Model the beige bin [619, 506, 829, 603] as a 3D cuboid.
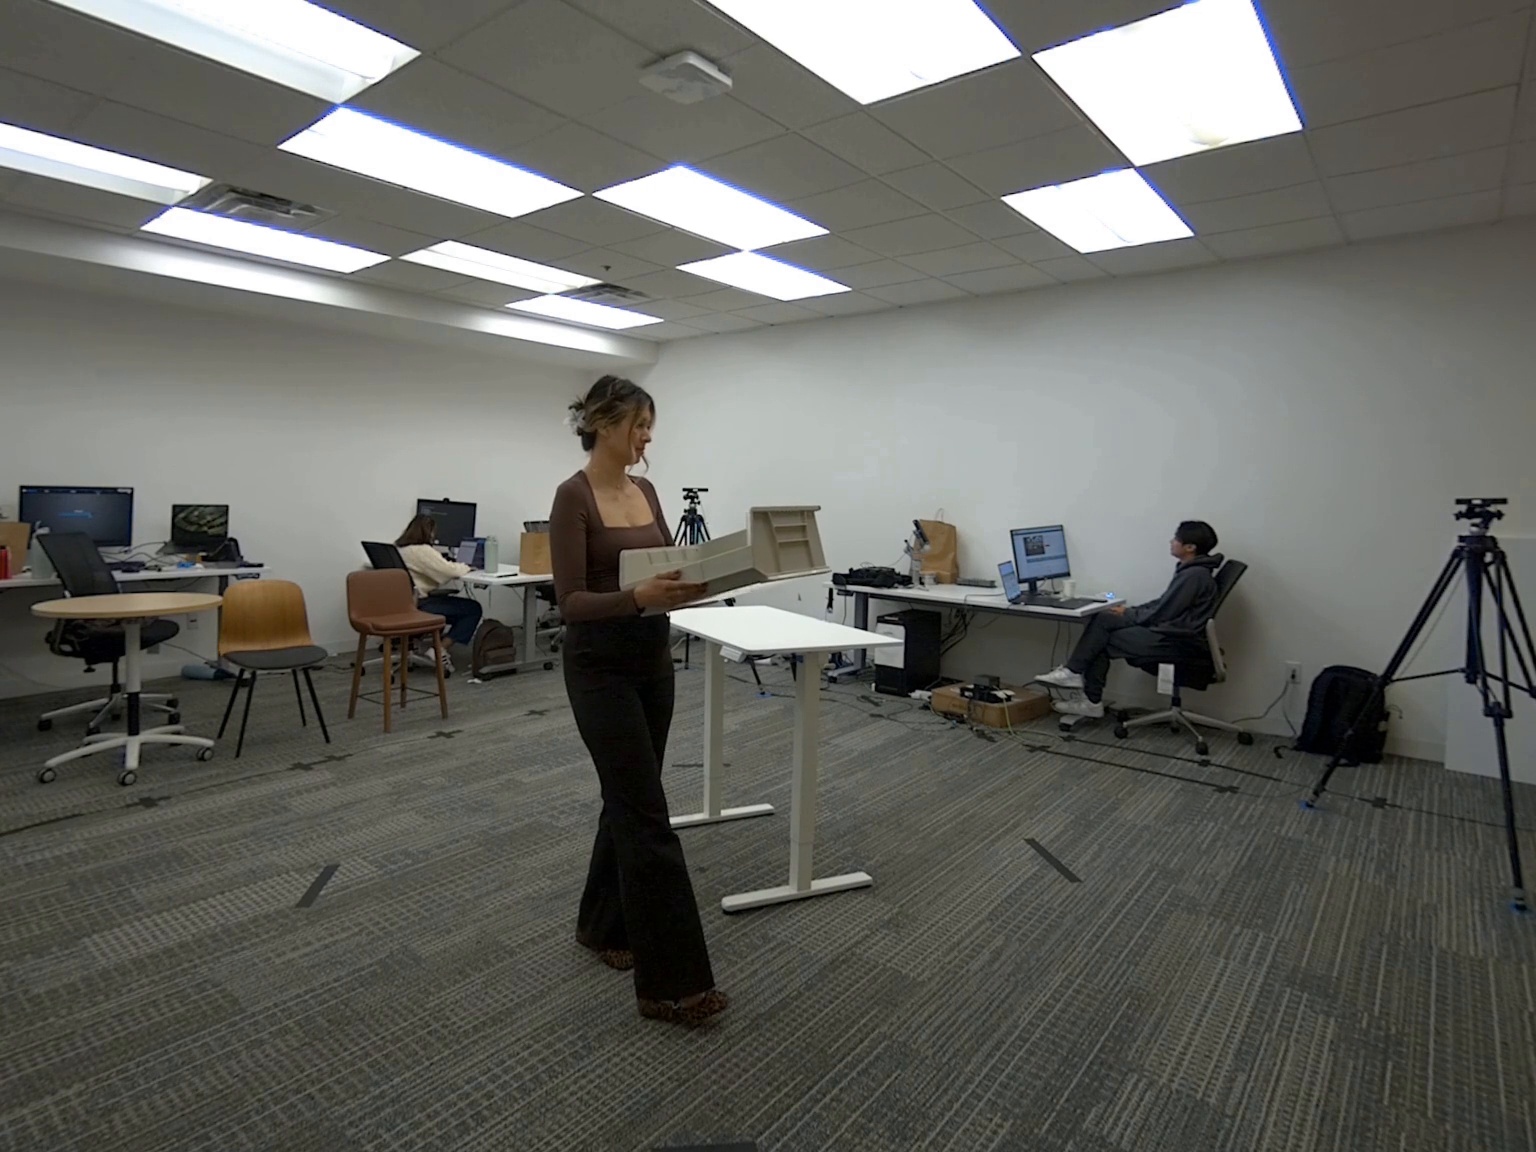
[{"bbox_3d":[-0.116,-0.041,2.201,0.431,0.190,0.367,-15,-6,33],"label":"beige bin"}]
